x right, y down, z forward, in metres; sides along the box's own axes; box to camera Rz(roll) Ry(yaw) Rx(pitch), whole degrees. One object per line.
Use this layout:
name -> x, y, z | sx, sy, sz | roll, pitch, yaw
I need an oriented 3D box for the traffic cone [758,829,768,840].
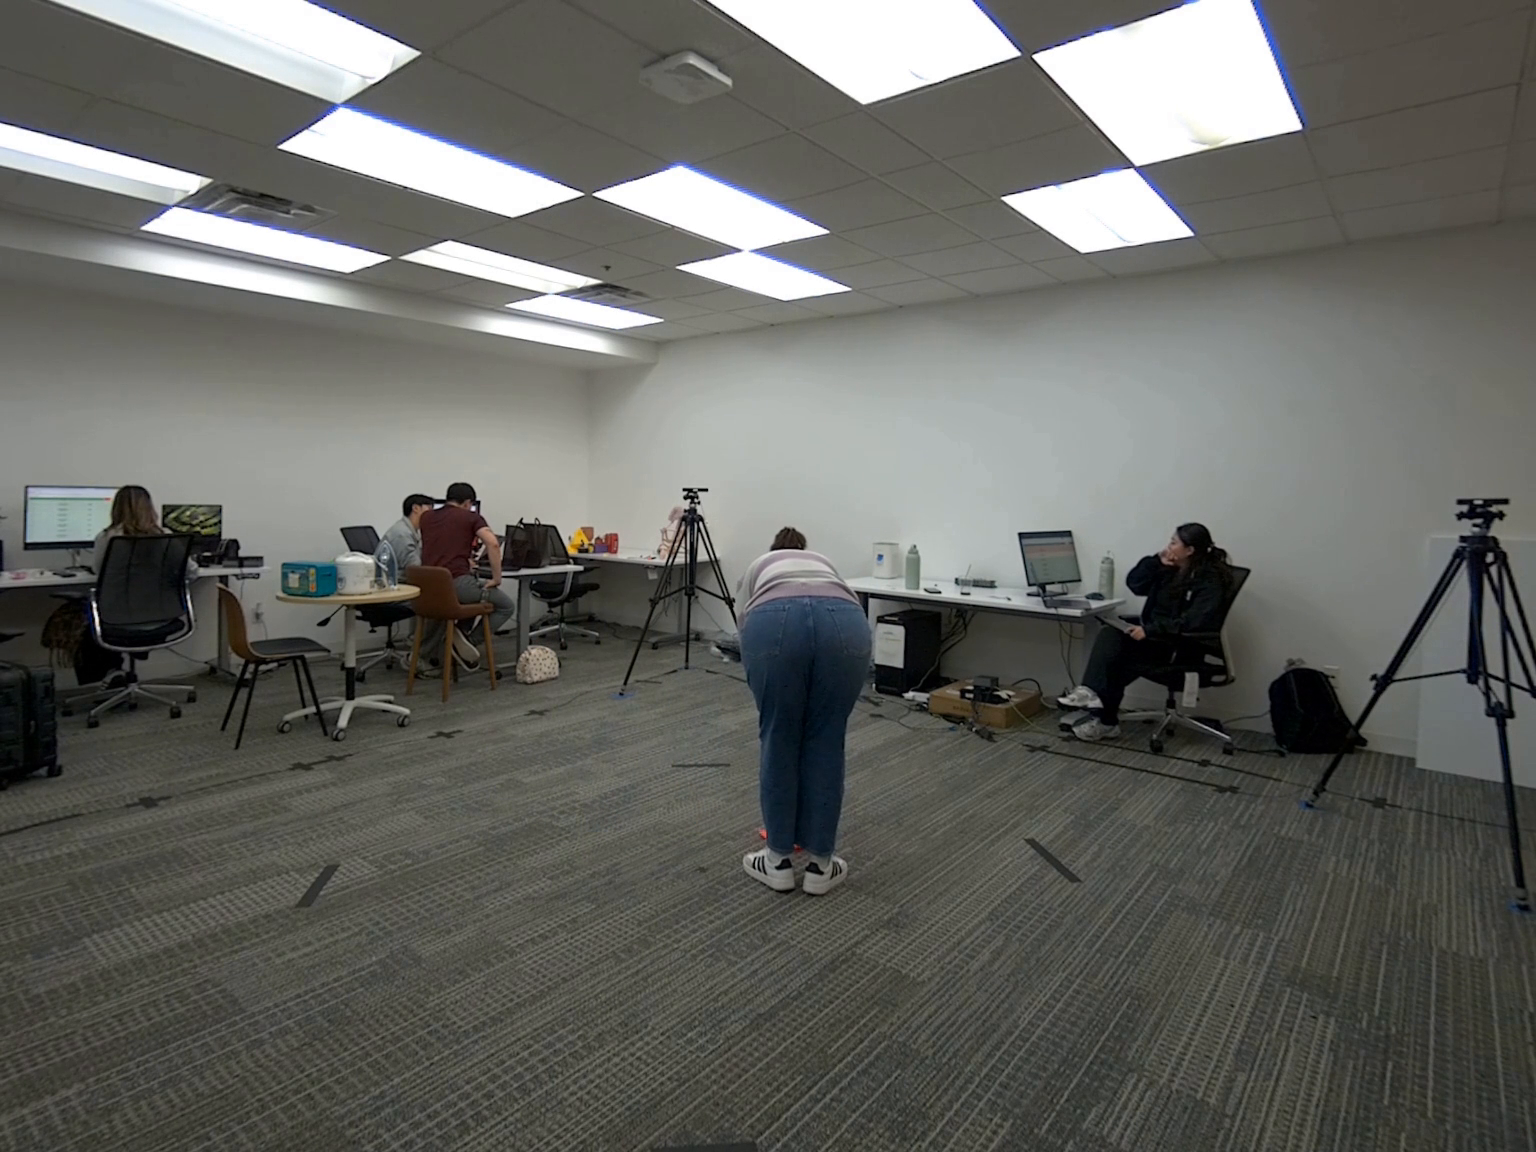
traffic cone -> 0.078, 0.832, 3.370 | 0.201, 0.384, 0.207 | 0, 0, -21
